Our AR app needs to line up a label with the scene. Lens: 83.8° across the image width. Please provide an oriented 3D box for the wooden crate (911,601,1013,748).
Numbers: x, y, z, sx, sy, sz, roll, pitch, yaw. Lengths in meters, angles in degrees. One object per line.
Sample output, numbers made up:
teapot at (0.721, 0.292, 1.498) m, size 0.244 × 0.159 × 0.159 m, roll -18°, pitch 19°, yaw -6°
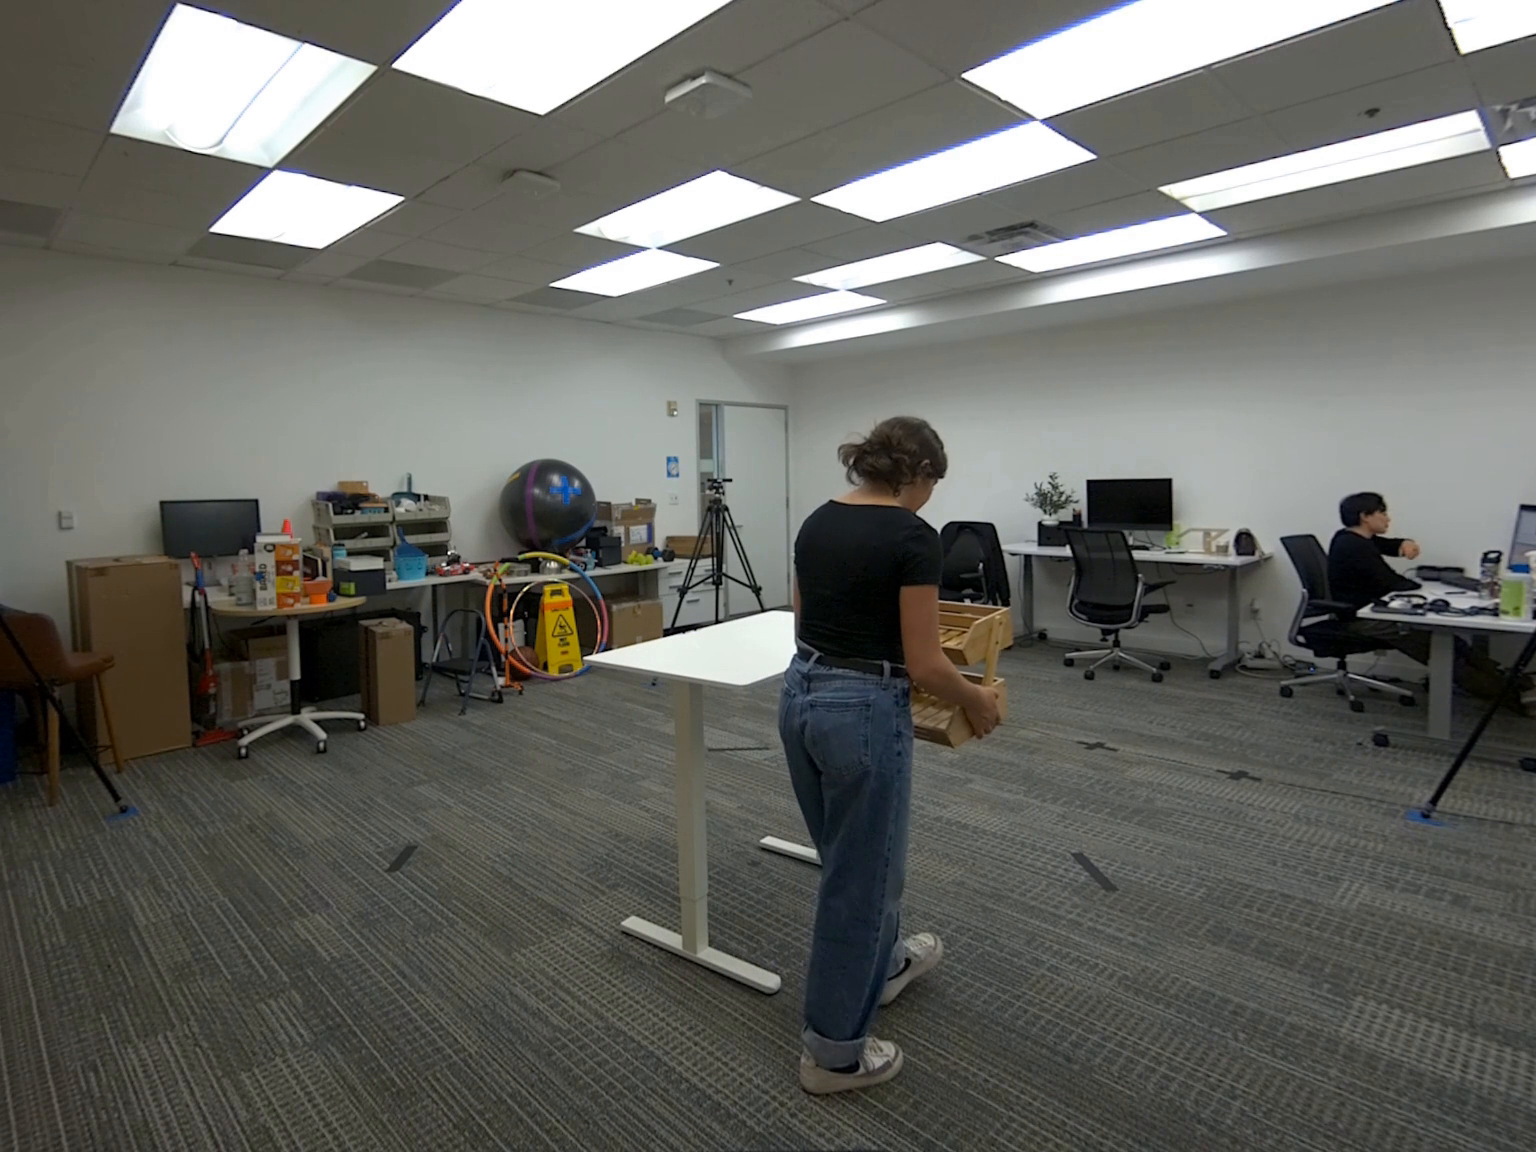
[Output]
wooden crate at (0.412, 0.224, 2.136) m, size 0.295 × 0.271 × 0.334 m, roll -14°, pitch 13°, yaw -41°
